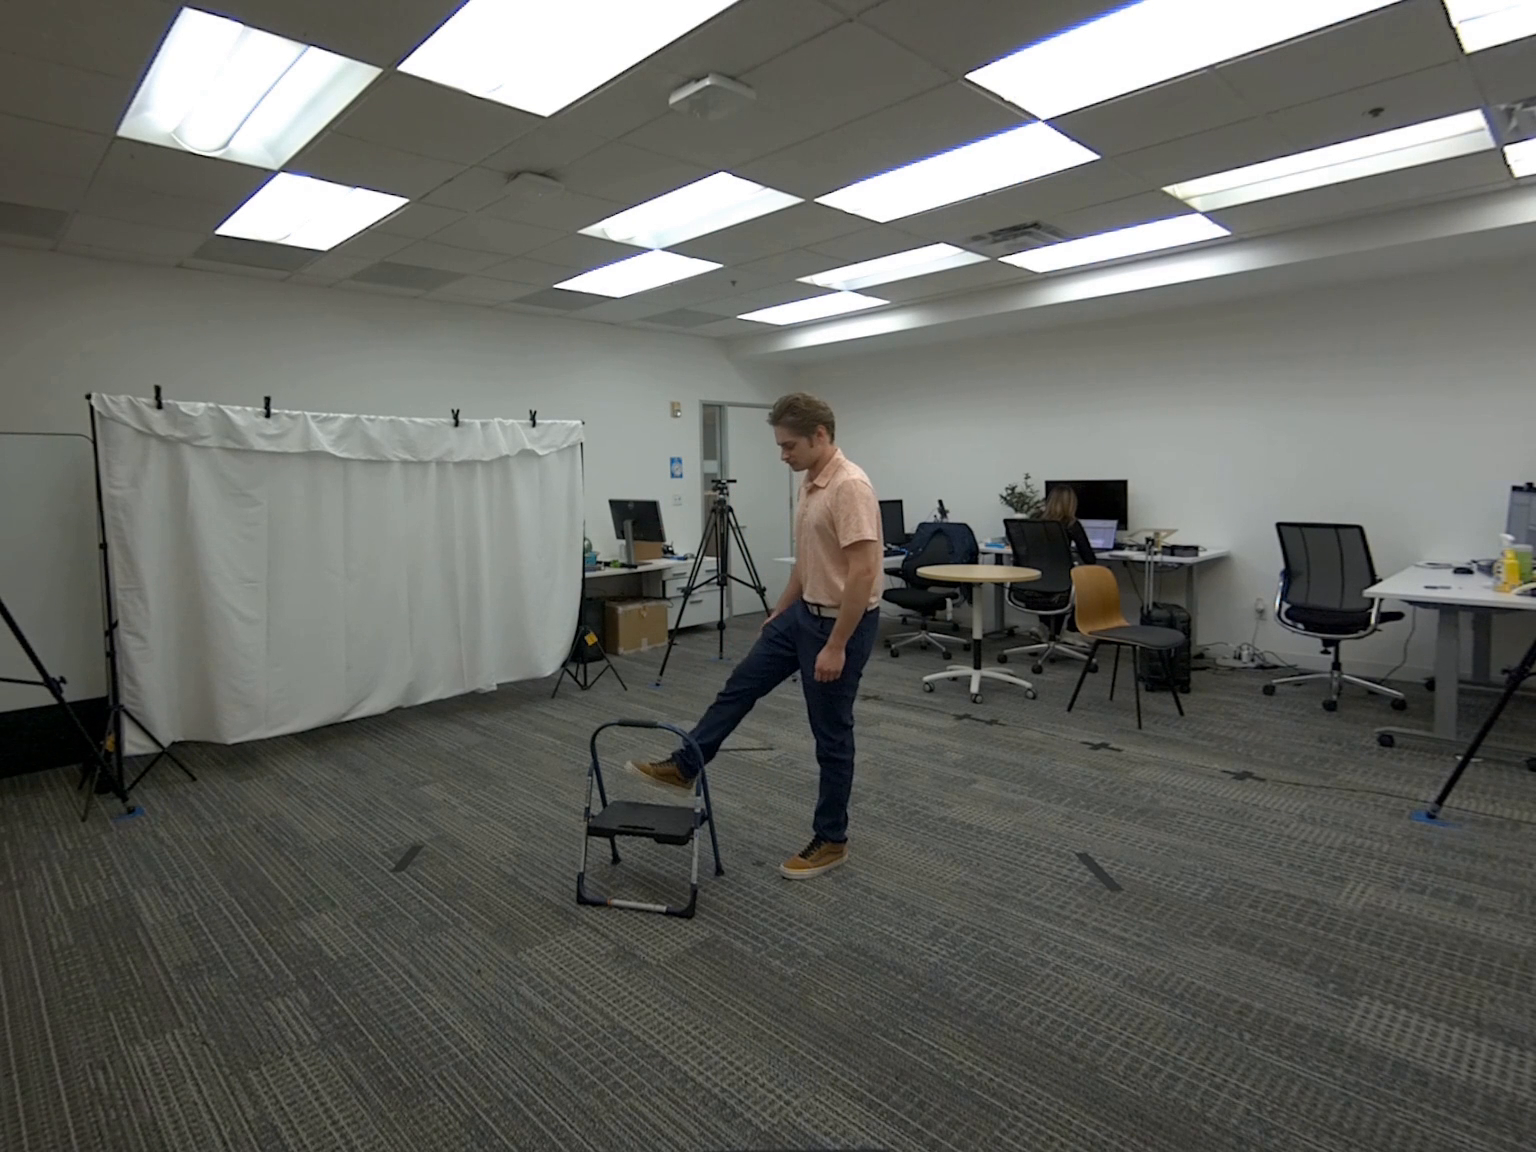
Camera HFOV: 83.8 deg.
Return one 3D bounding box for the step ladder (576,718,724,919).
[{"bbox_3d":[-0.404,0.773,2.920,0.437,0.604,0.346,0,4,14],"label":"step ladder"}]
